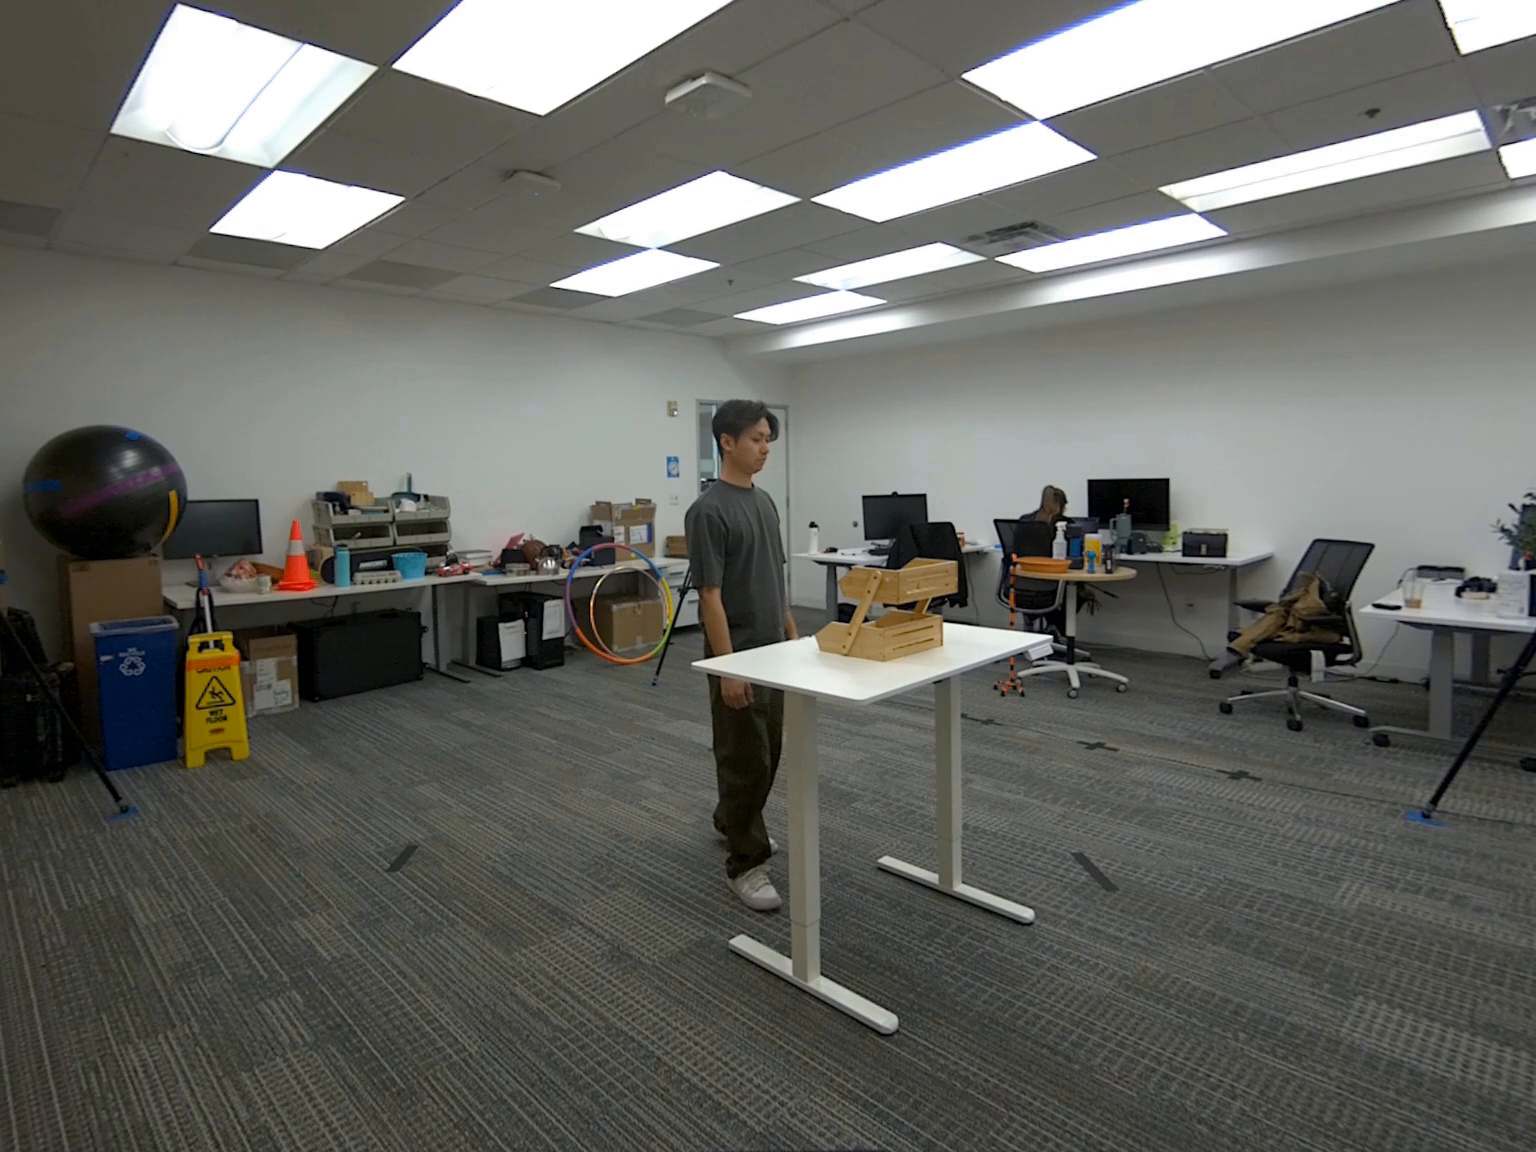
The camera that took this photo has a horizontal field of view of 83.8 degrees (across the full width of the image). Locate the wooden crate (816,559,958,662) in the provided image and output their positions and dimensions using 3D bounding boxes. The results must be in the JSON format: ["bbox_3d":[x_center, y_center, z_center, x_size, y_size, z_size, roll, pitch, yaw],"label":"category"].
[{"bbox_3d":[0.356,0.087,2.541,0.316,0.272,0.311,-7,8,-44],"label":"wooden crate"}]
